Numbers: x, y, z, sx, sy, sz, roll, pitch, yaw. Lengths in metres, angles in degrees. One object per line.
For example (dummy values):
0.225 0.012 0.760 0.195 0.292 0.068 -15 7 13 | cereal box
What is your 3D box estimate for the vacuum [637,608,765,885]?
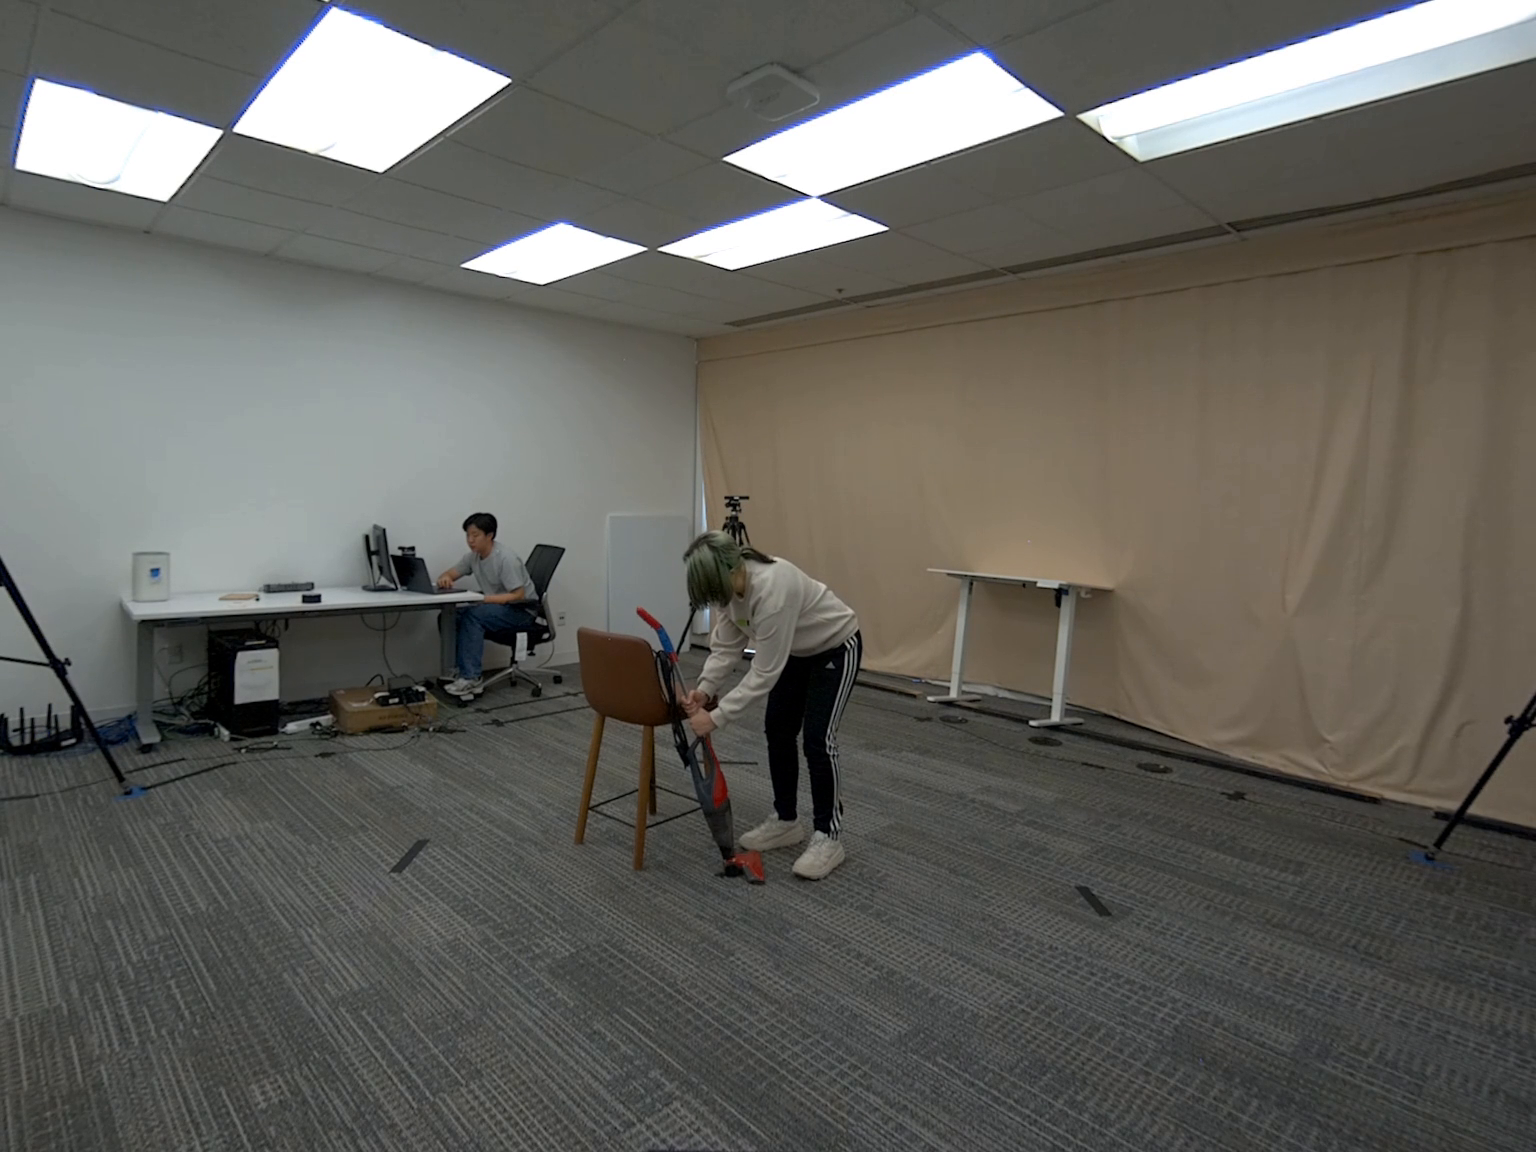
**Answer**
-0.292 0.609 3.115 0.143 1.044 0.256 -24 5 -18 | vacuum
